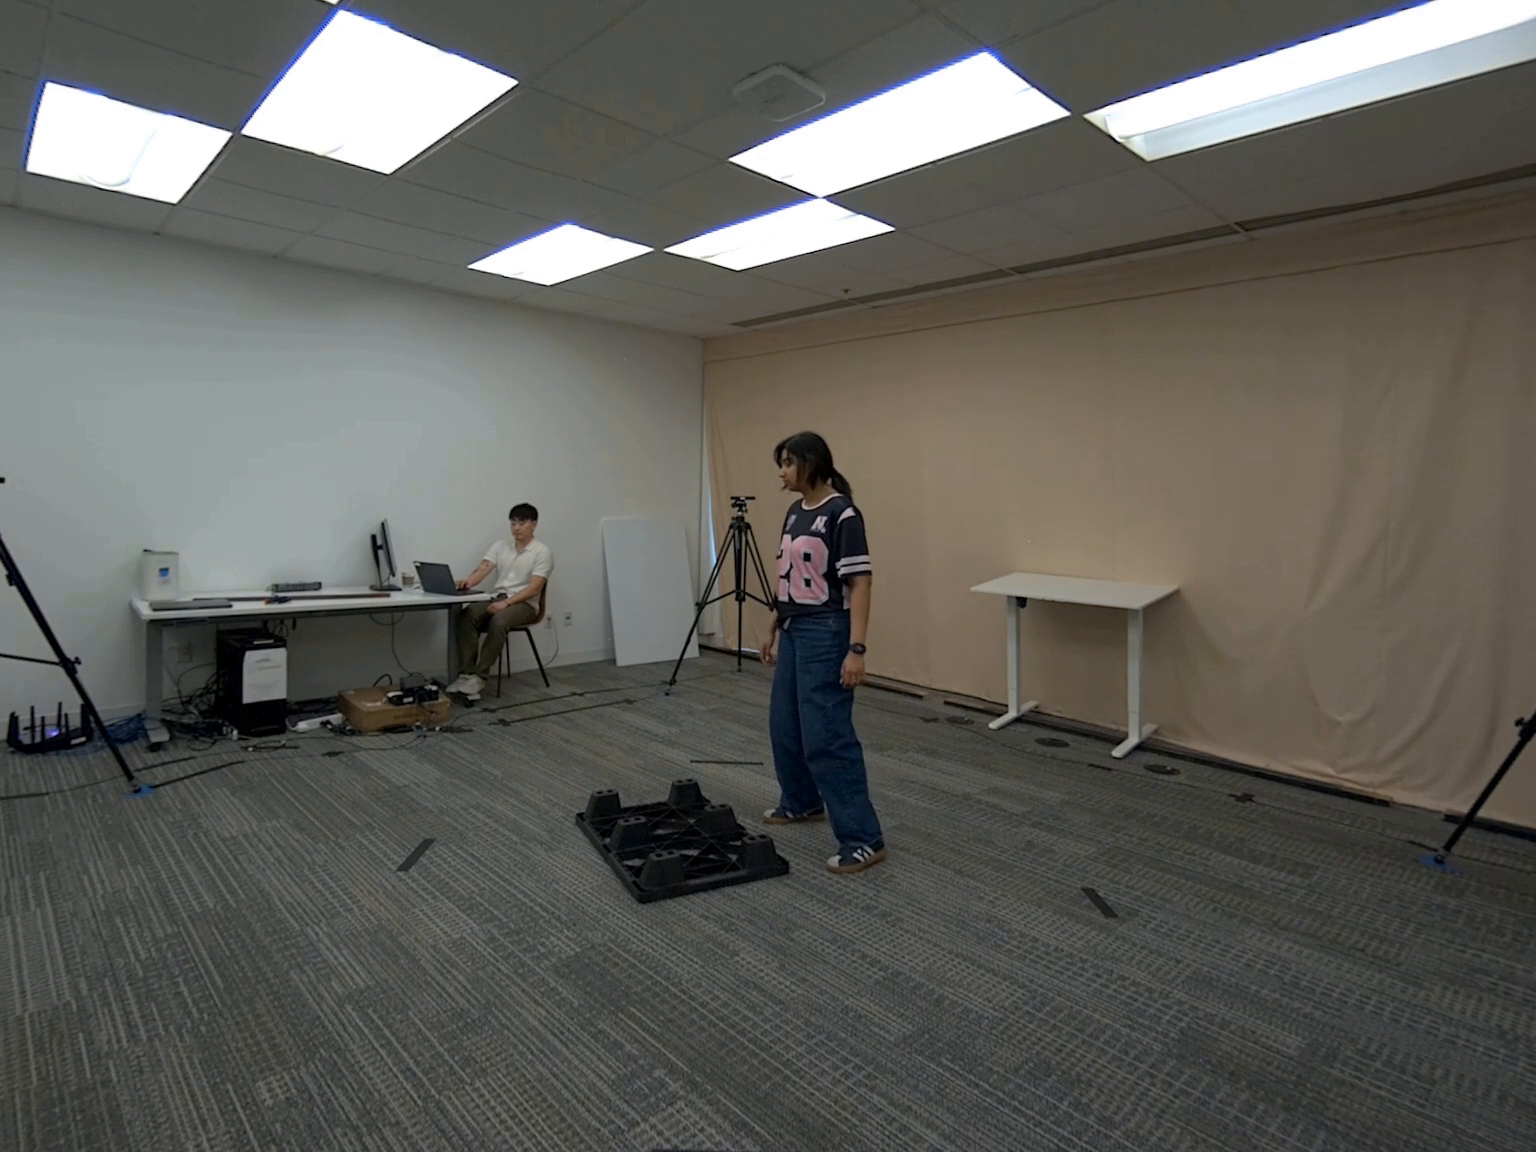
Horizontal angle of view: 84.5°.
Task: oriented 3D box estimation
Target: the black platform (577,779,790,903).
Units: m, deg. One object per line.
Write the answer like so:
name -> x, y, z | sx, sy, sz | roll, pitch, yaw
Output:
black platform -> -0.367, 1.013, 3.339 | 0.593, 0.143, 0.823 | -2, 6, -28
